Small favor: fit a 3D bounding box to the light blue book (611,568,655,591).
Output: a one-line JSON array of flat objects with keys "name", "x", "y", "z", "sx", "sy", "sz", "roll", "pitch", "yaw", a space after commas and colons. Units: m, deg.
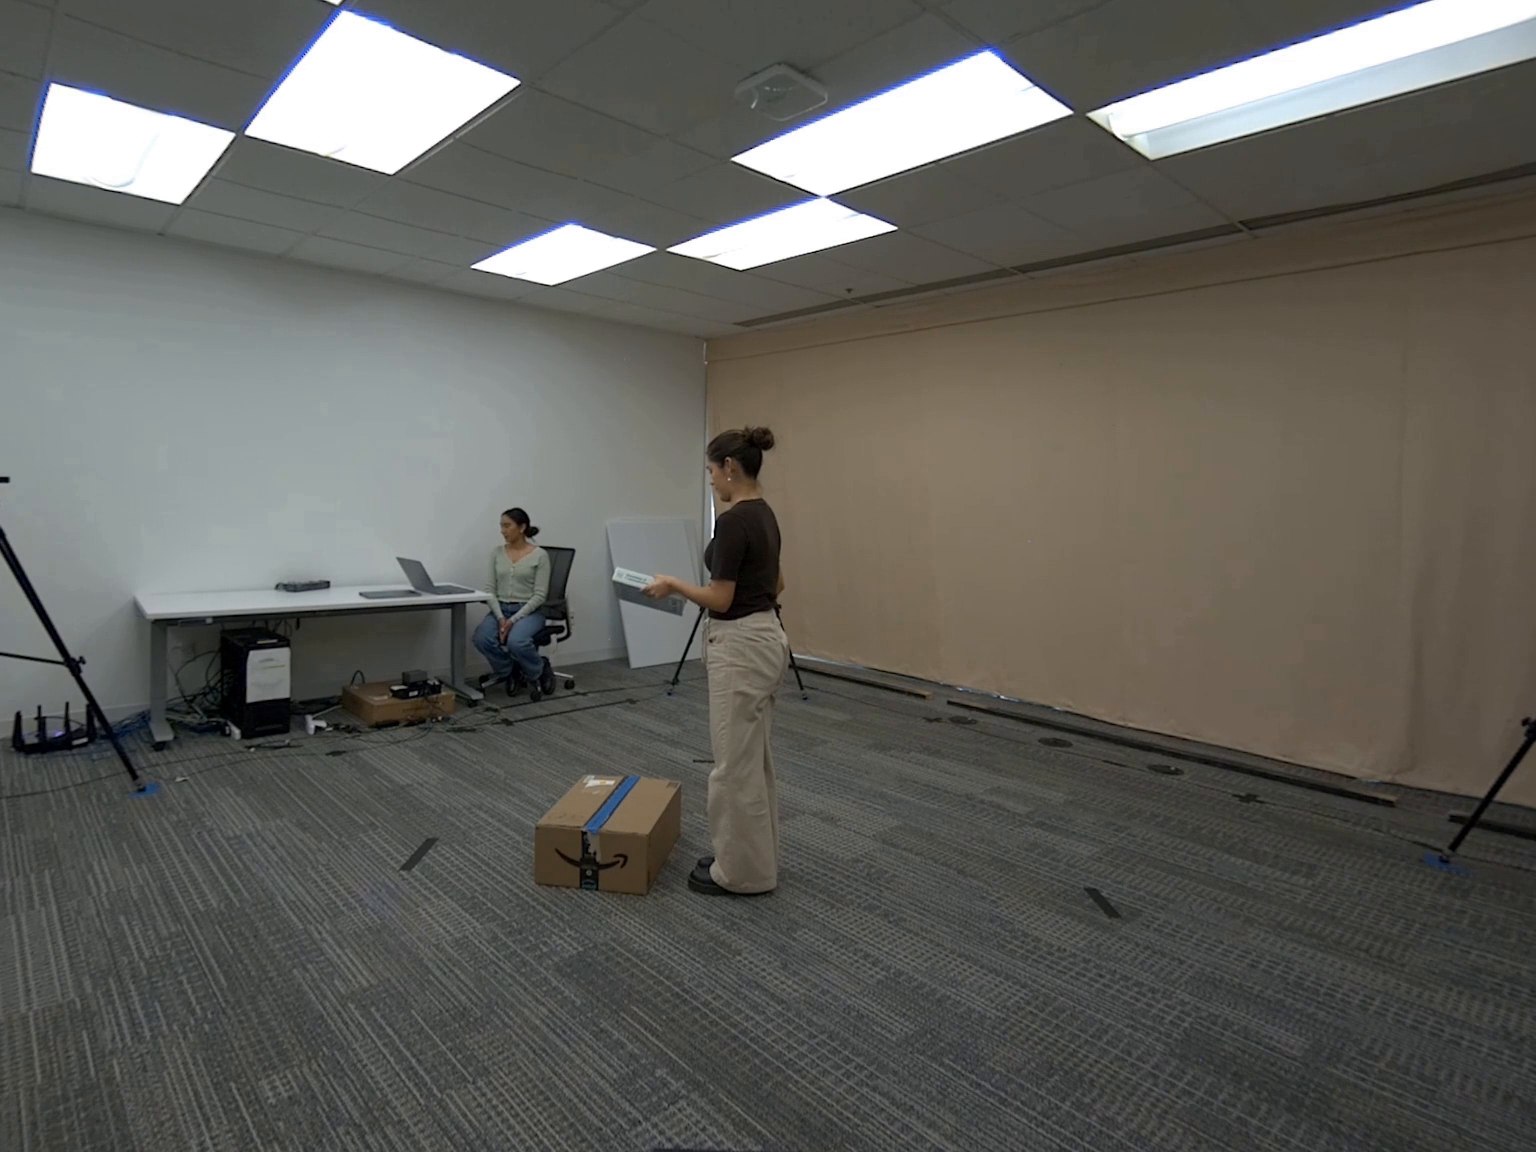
[{"name": "light blue book", "x": -0.430, "y": 0.058, "z": 3.070, "sx": 0.262, "sy": 0.059, "sz": 0.189, "roll": 16, "pitch": -22, "yaw": 2}]
